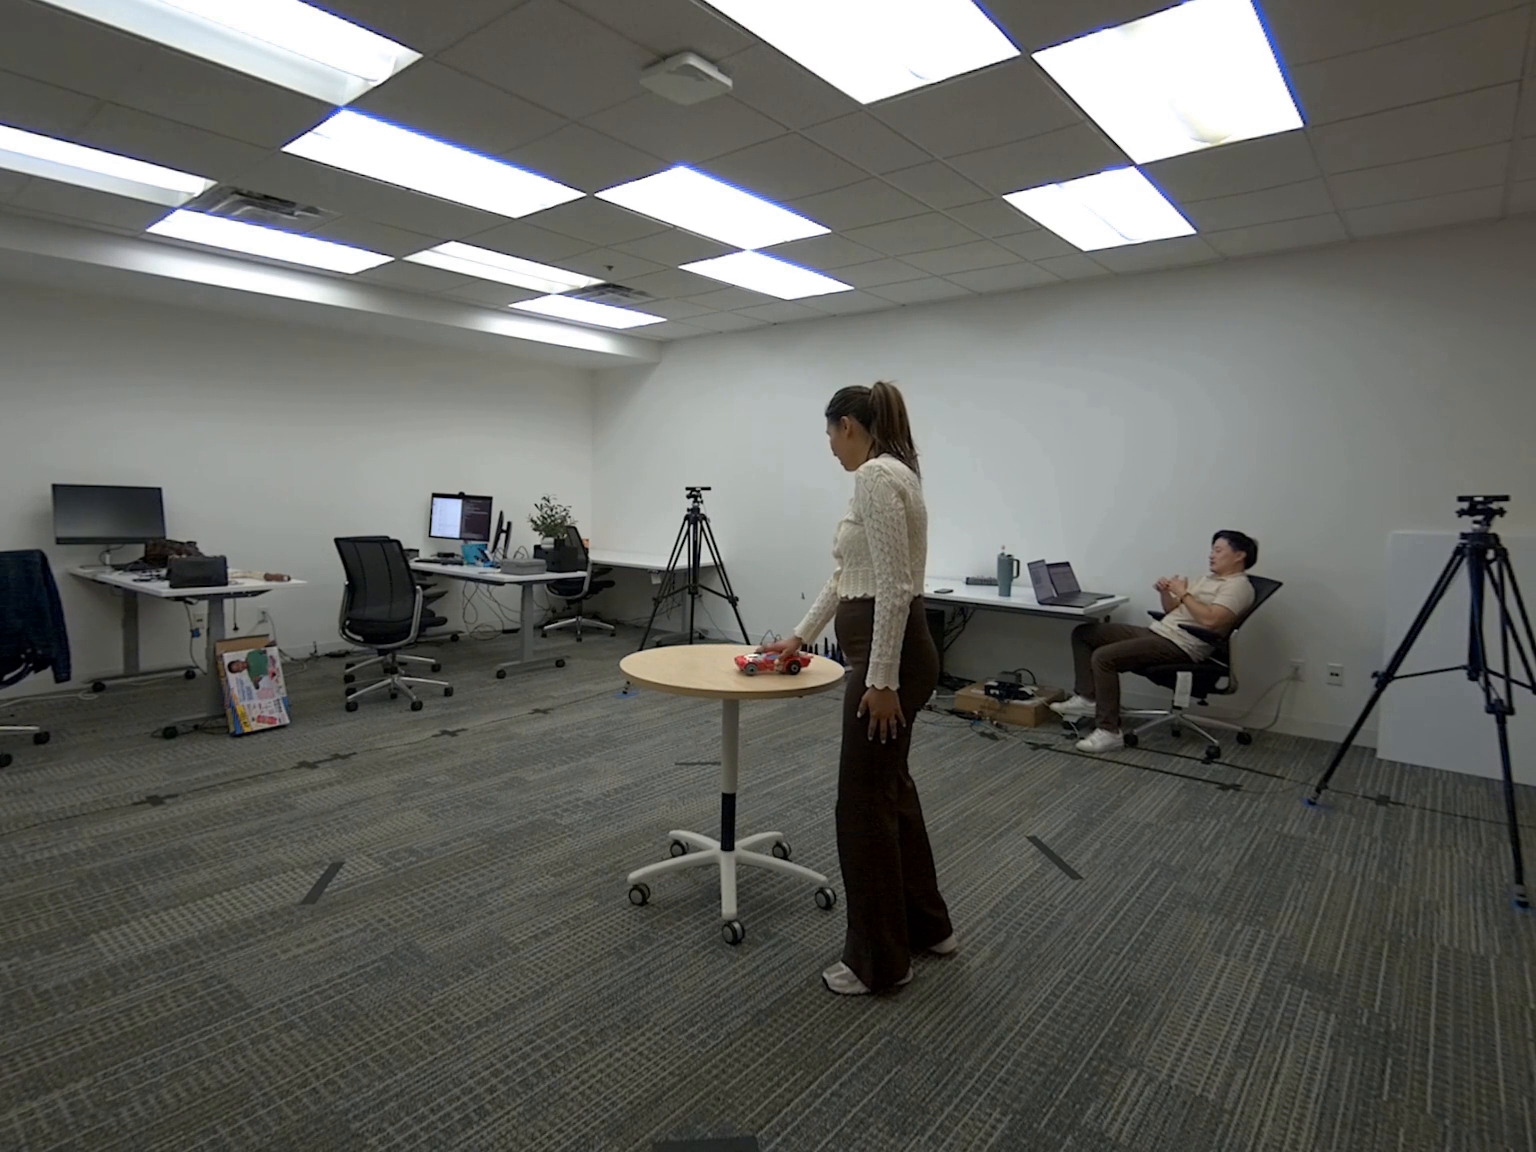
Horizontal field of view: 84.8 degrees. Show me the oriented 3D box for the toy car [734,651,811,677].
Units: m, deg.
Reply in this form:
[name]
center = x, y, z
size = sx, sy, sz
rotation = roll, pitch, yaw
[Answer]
[toy car]
center = 0.014, 0.283, 2.811
size = 0.252, 0.082, 0.133
rotation = -9, 8, -12
